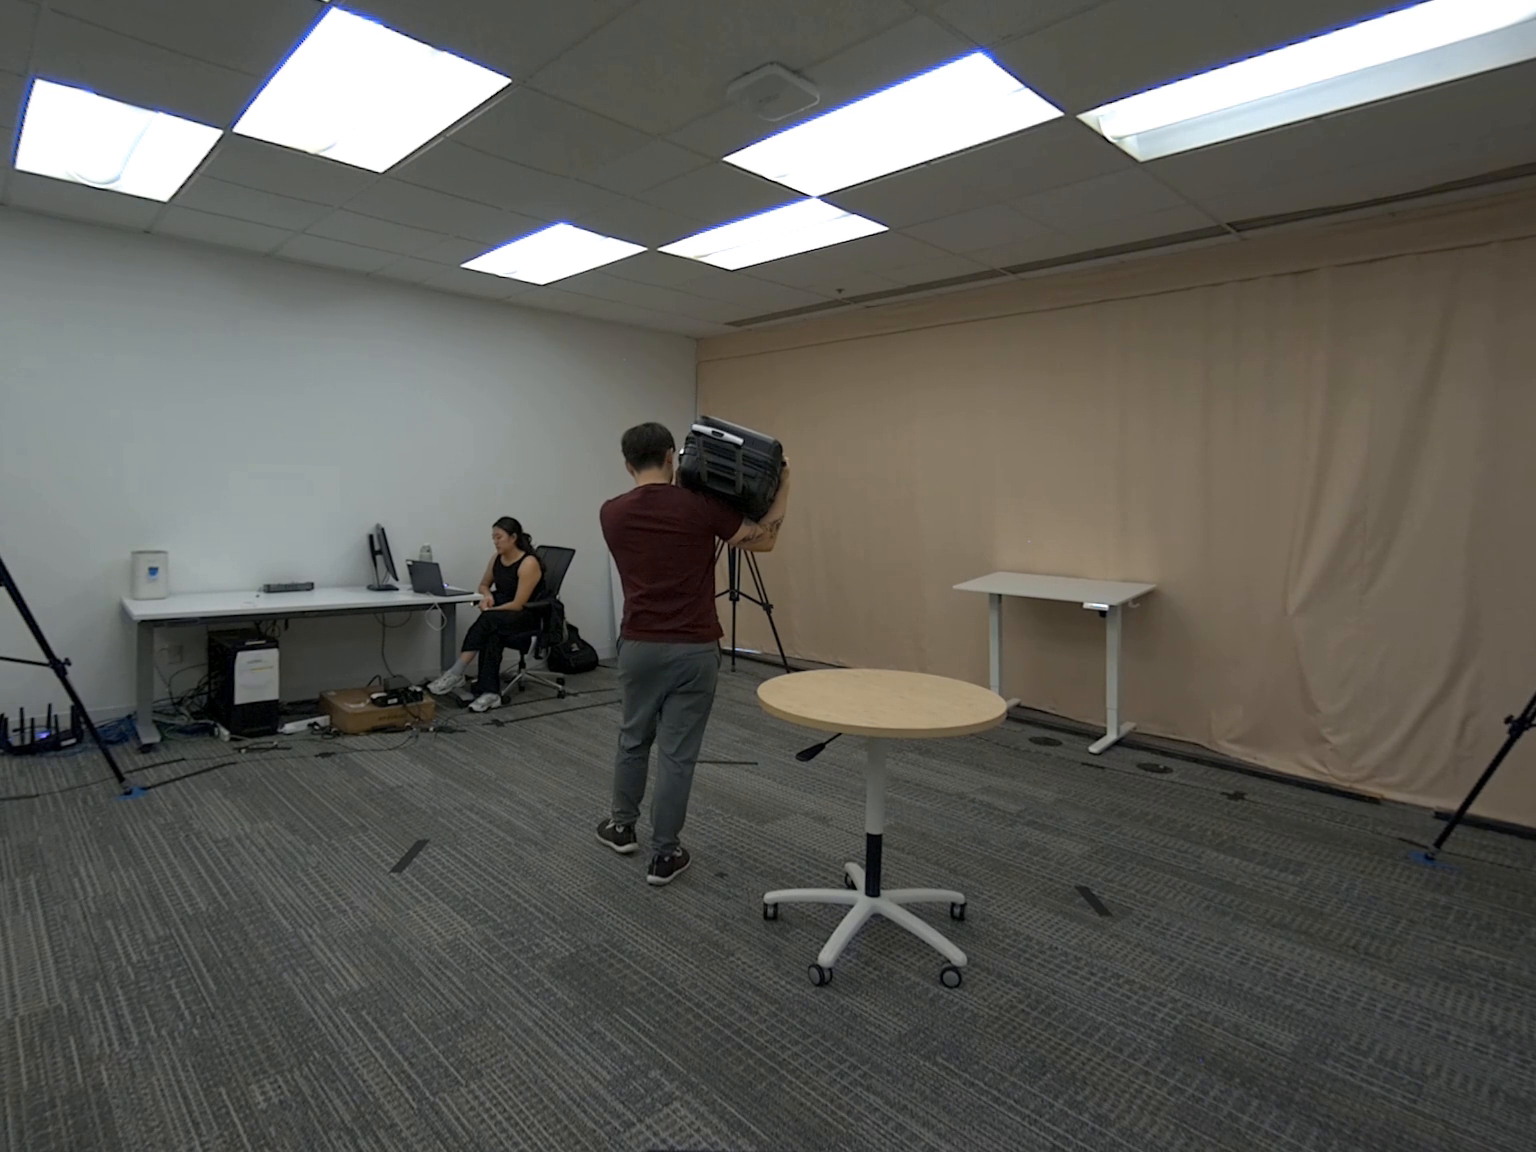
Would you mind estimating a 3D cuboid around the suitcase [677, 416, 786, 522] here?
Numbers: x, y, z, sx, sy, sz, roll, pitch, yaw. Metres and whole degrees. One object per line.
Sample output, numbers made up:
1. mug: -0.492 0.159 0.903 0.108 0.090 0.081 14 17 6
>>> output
1. suitcase: -0.132 -0.415 2.989 0.386 0.258 0.969 22 -13 3
